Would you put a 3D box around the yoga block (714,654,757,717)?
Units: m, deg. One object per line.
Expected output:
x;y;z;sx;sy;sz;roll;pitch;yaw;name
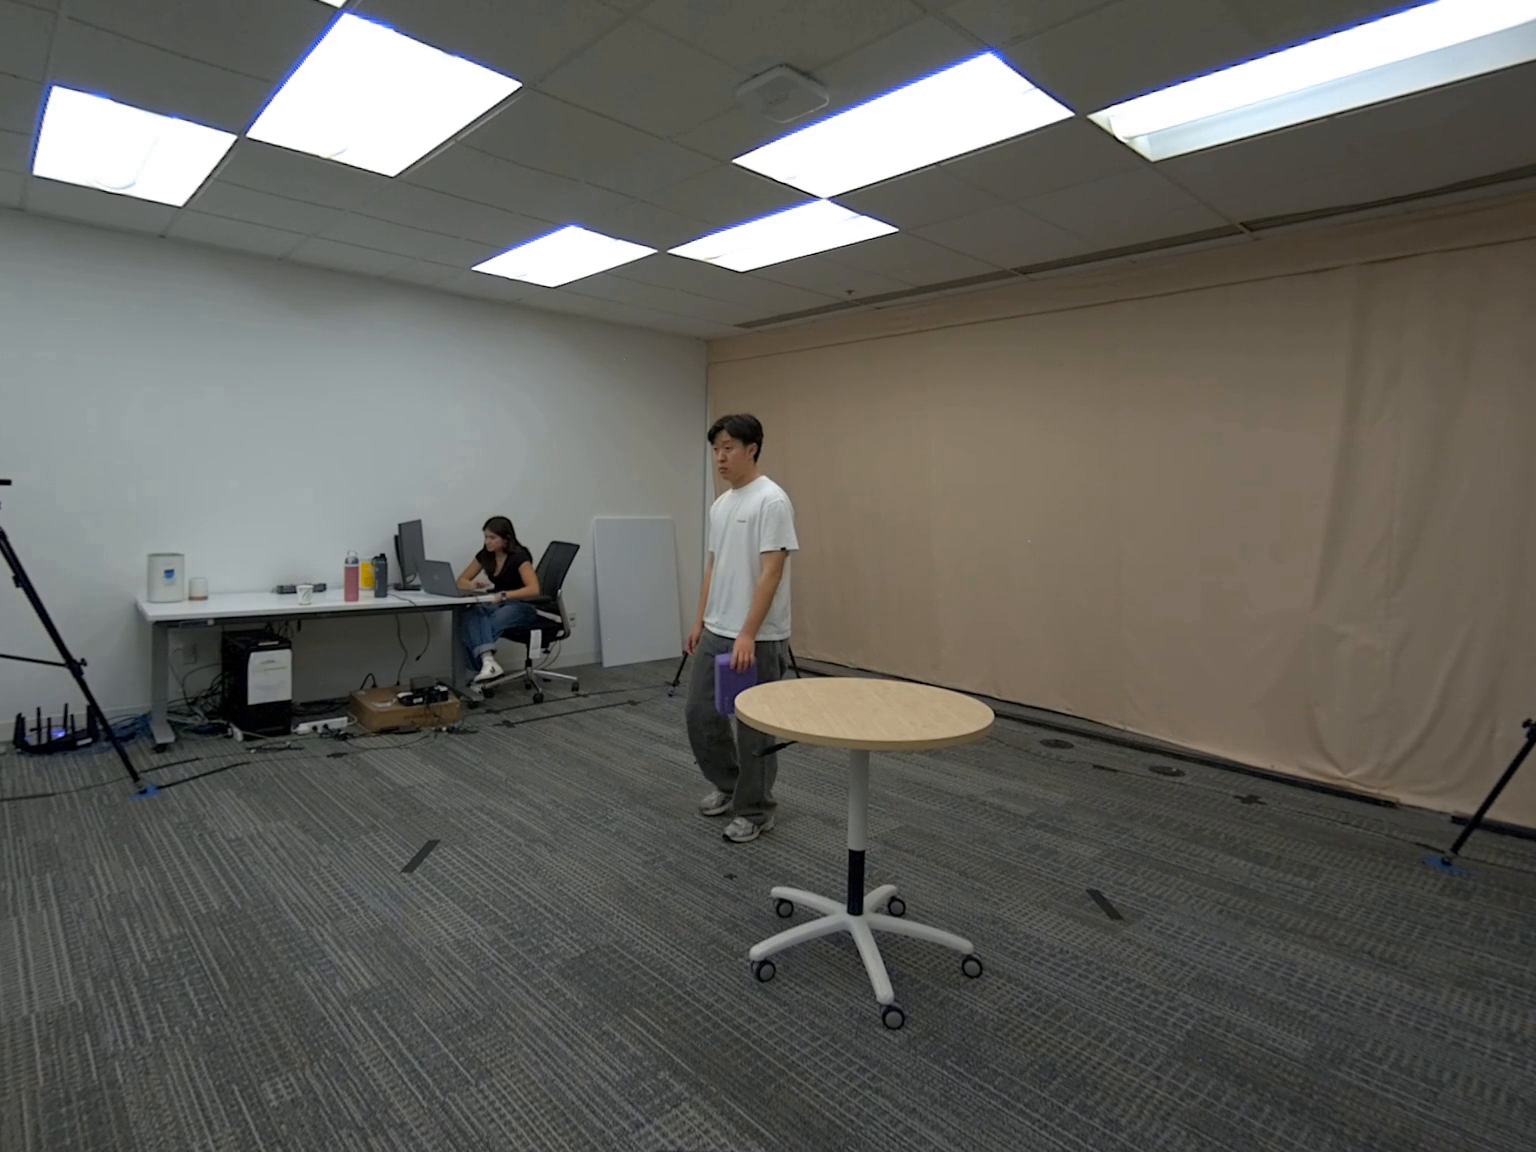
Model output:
-0.130;0.421;3.247;0.147;0.227;0.078;-4;17;-14;yoga block
